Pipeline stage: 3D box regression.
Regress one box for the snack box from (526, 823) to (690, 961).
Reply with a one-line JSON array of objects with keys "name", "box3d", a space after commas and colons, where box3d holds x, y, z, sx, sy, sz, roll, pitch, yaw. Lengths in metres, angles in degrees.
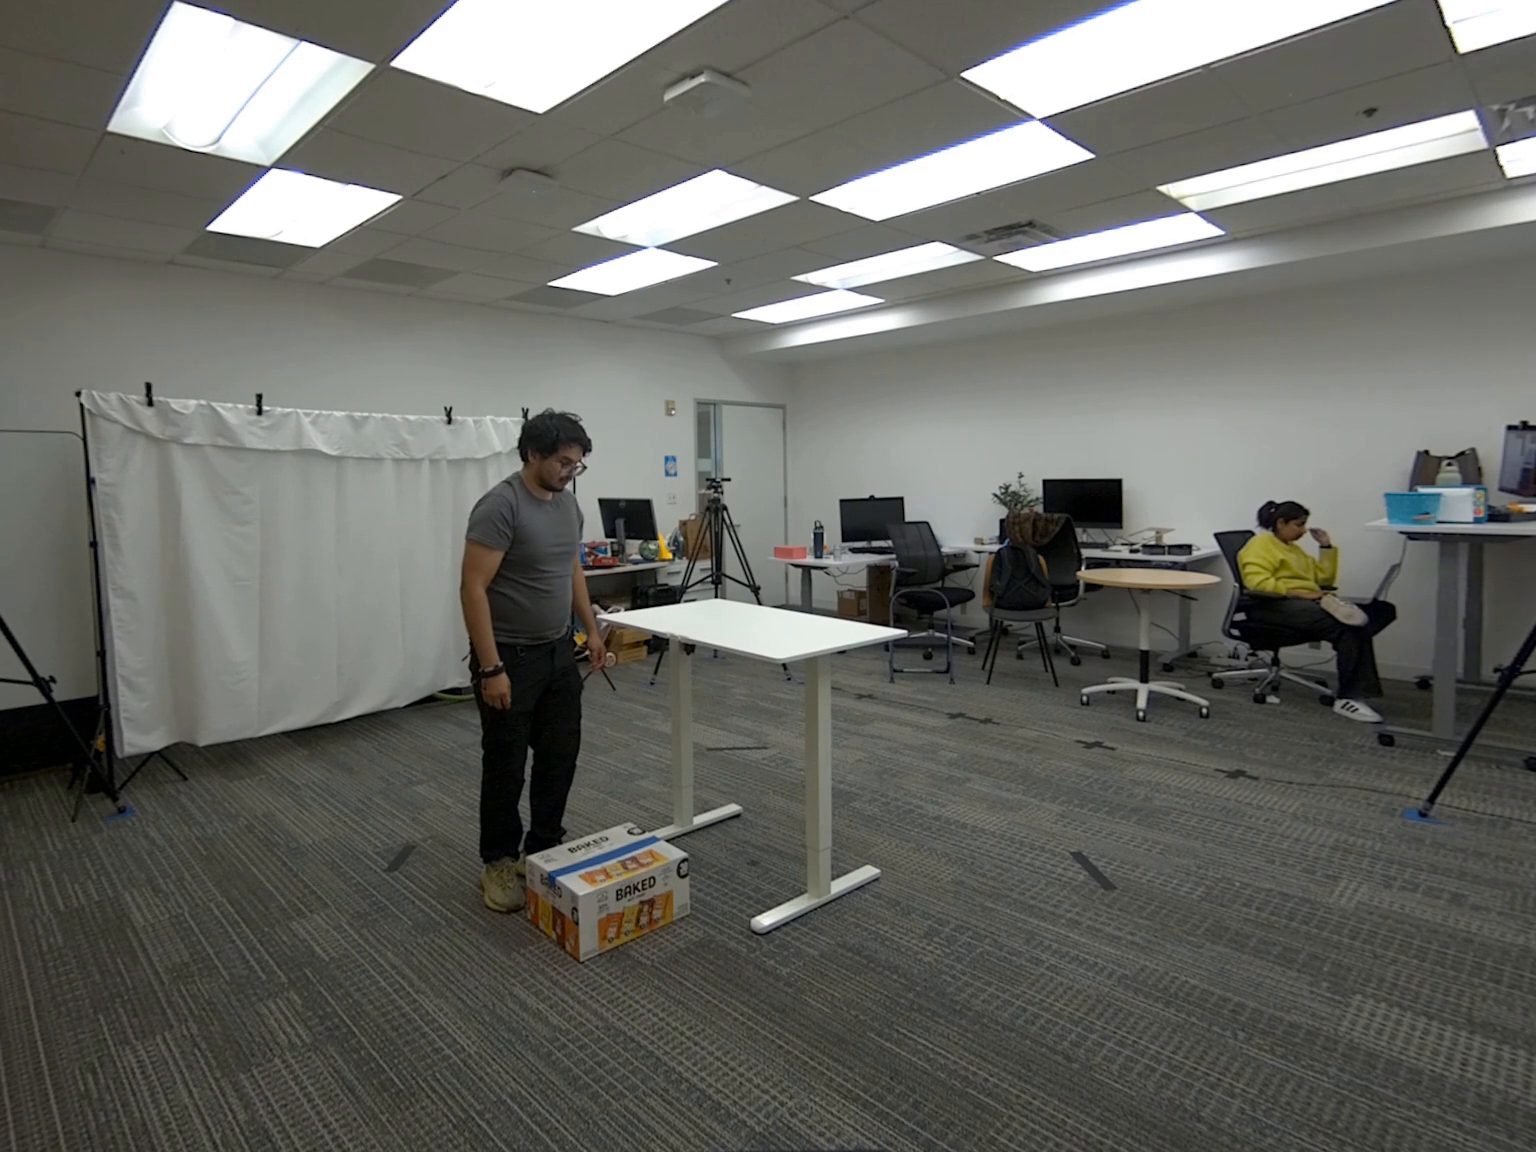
[{"name": "snack box", "box3d": [-0.509, 0.995, 2.731, 0.395, 0.205, 0.351, -7, 8, -41]}]
